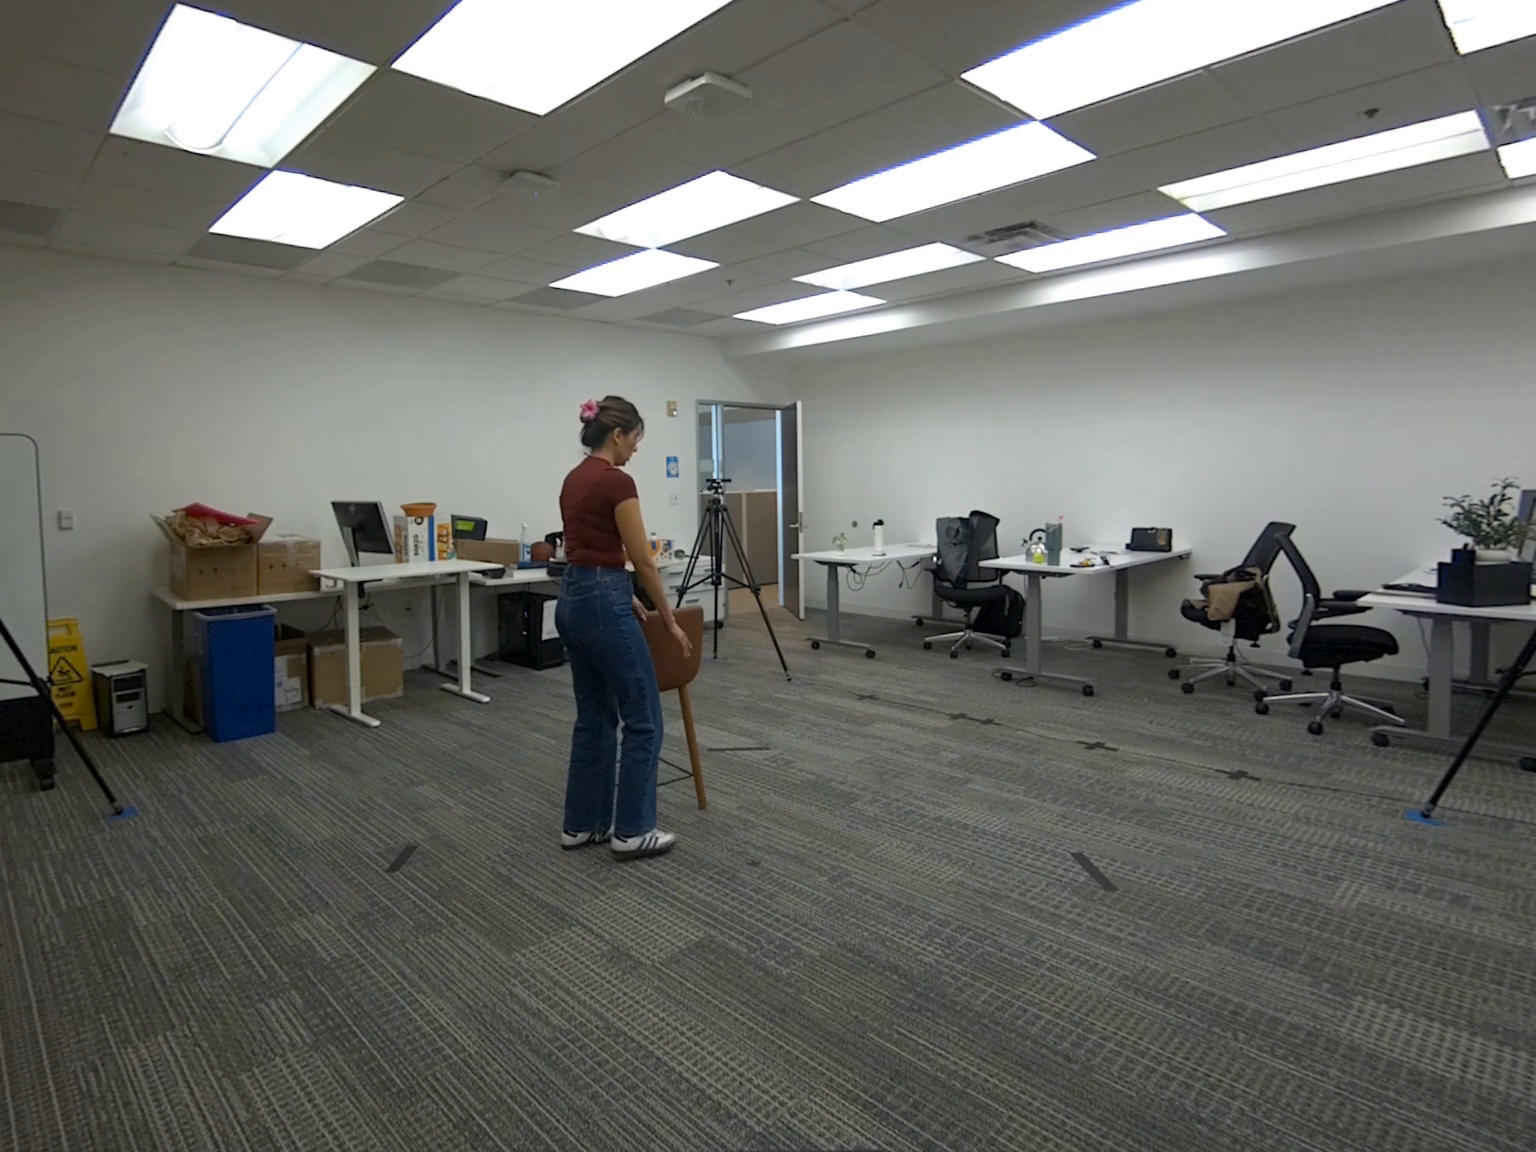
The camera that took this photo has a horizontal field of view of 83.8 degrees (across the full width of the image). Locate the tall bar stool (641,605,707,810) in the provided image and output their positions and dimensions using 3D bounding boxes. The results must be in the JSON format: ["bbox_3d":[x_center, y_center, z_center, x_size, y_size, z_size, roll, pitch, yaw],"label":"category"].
[{"bbox_3d":[-0.547,0.557,3.675,0.444,0.886,0.482,-4,6,-40],"label":"tall bar stool"}]
